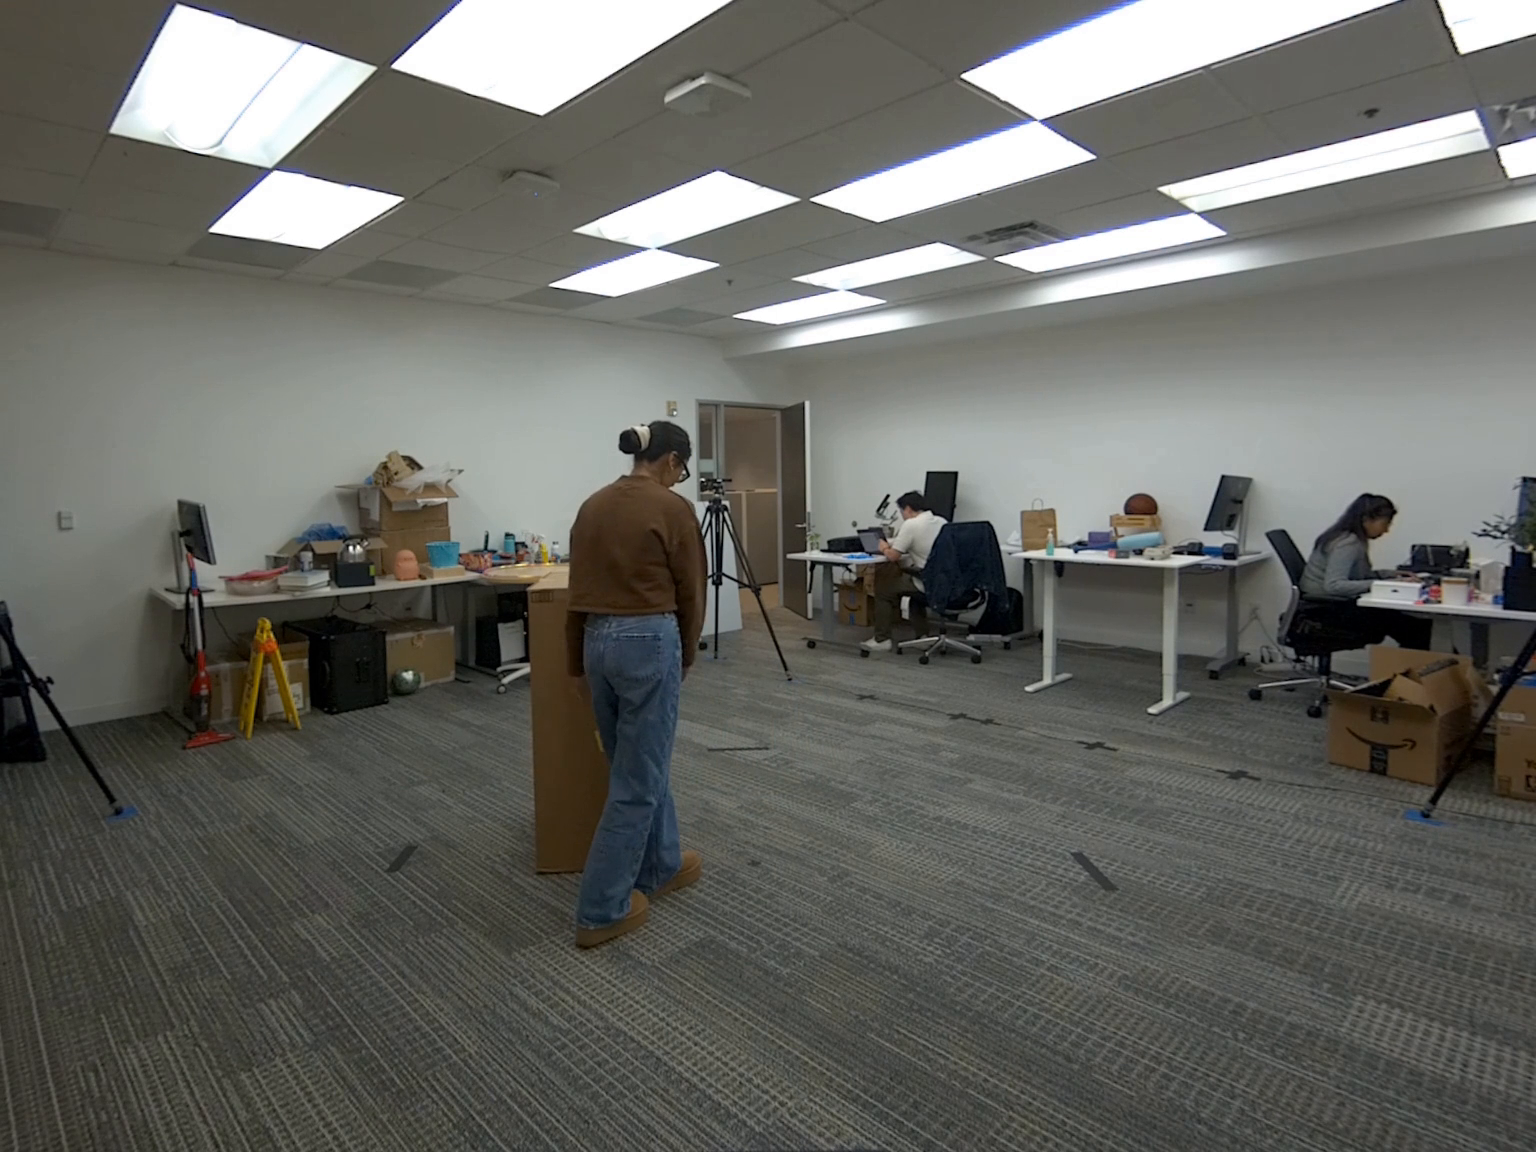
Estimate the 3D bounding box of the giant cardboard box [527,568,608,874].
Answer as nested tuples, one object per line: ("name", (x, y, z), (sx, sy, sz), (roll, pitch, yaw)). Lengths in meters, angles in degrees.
("giant cardboard box", (-0.665, 0.519, 3.324), (0.424, 1.023, 0.582), (-1, 4, -5))
